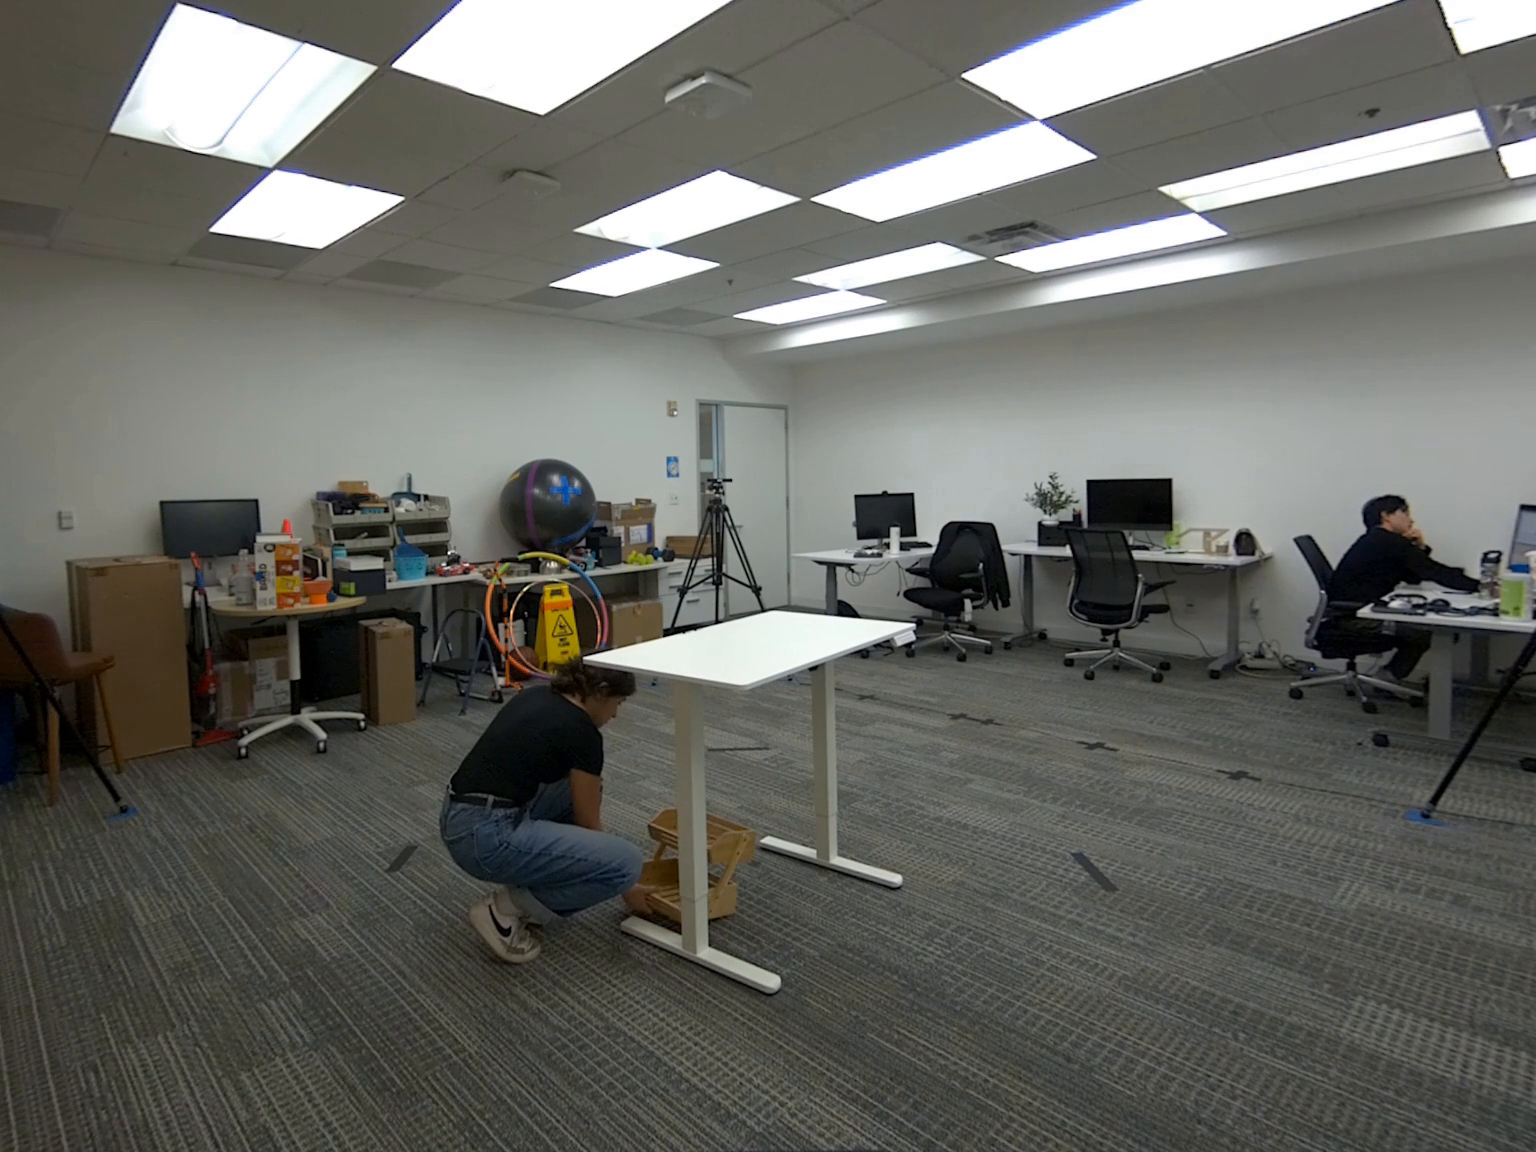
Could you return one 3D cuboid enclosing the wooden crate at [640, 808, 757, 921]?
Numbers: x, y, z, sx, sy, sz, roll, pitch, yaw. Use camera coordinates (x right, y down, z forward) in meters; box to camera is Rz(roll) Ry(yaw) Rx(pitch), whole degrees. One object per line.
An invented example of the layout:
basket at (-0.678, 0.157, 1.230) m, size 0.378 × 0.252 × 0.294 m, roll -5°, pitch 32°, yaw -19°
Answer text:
wooden crate at (-0.266, 0.934, 2.802) m, size 0.334 × 0.274 × 0.292 m, roll 4°, pitch -6°, yaw 42°
